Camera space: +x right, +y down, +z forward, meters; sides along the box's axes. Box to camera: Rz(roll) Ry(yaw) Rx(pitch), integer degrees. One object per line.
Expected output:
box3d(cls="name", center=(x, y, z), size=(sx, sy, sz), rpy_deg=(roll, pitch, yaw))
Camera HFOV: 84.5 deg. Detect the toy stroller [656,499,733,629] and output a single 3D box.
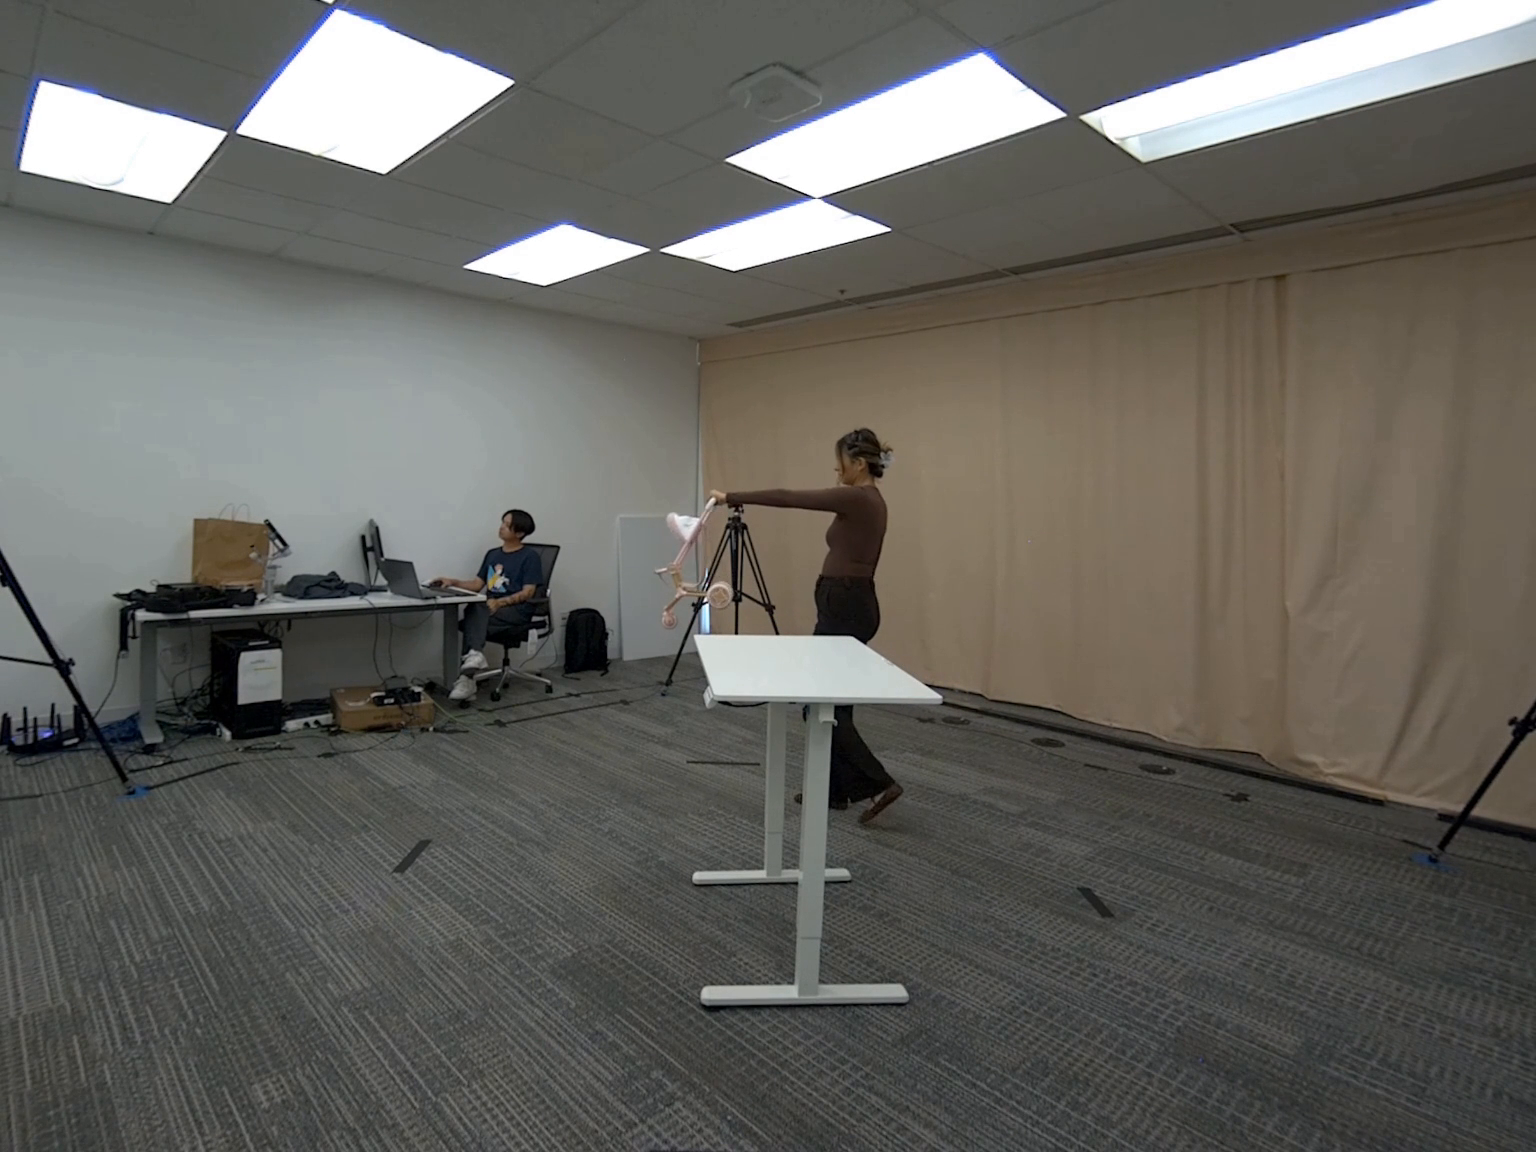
box3d(cls="toy stroller", center=(-0.345, -0.052, 3.719), size=(0.342, 0.534, 0.281), rpy_deg=(-9, 1, 5))
